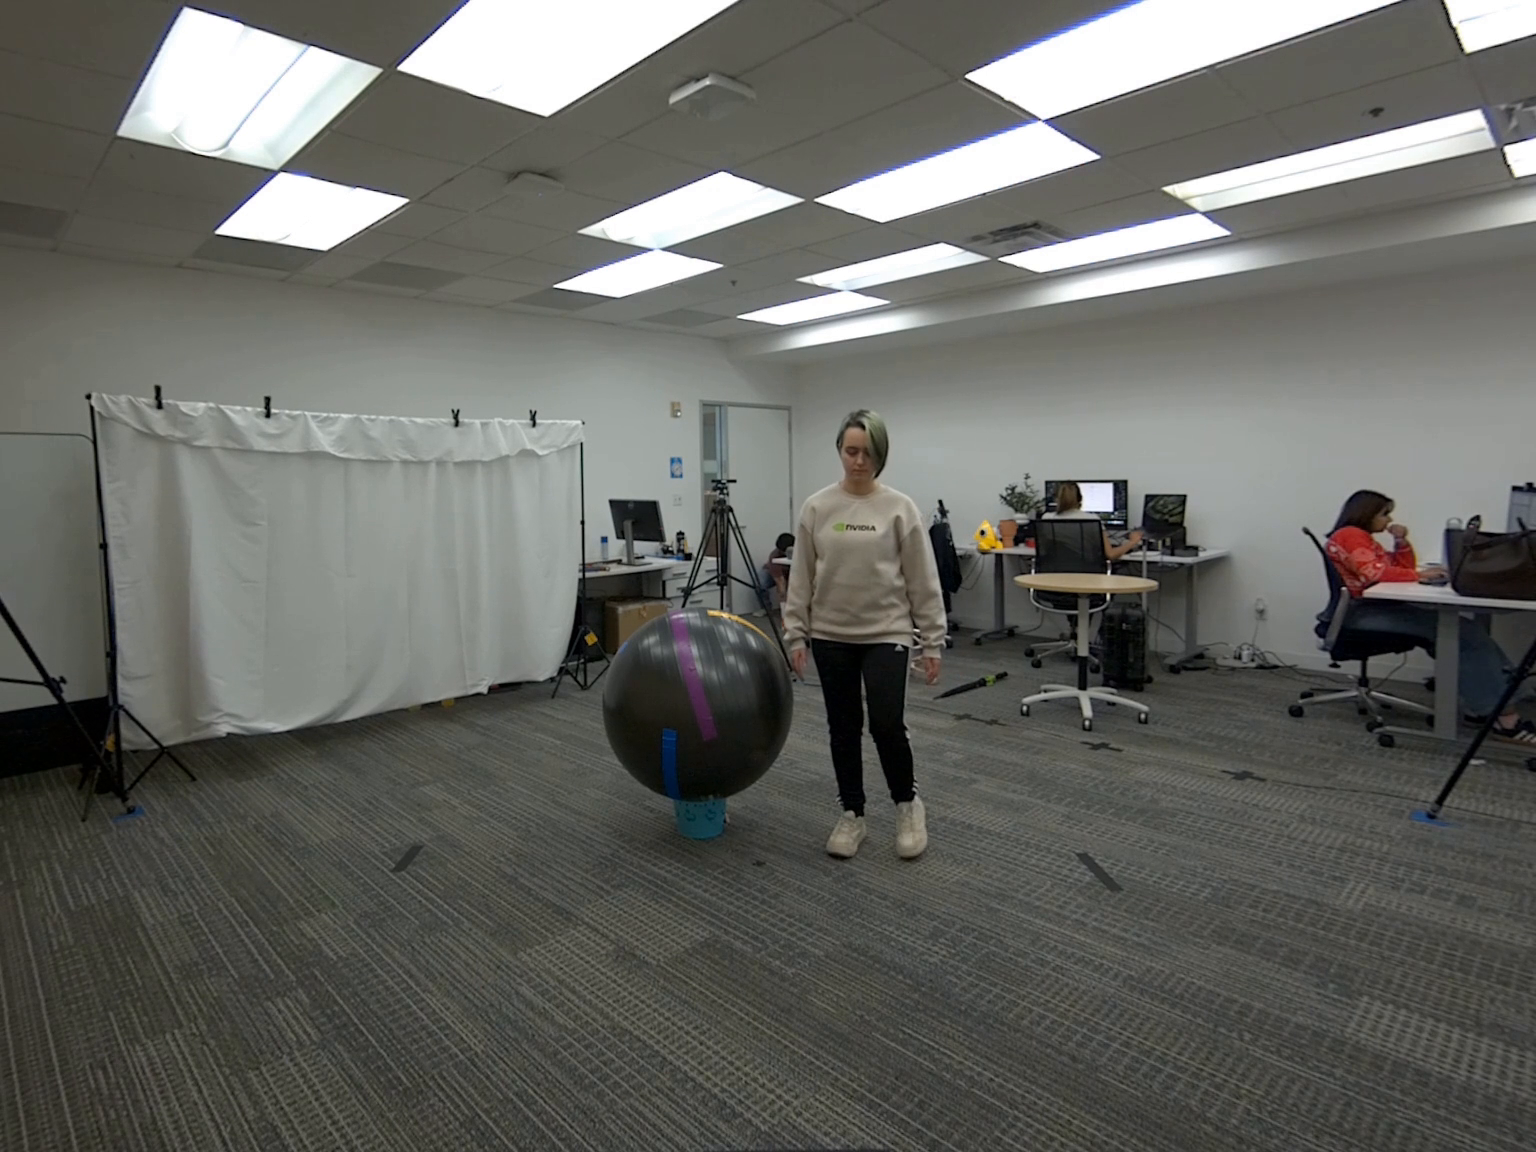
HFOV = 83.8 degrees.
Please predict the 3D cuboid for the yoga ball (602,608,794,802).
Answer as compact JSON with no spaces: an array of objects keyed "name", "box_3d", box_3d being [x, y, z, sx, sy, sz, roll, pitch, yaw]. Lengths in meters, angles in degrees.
[{"name":"yoga ball","box_3d":[-0.283,0.513,3.403,0.757,0.755,0.762,-1,5,-2]}]
